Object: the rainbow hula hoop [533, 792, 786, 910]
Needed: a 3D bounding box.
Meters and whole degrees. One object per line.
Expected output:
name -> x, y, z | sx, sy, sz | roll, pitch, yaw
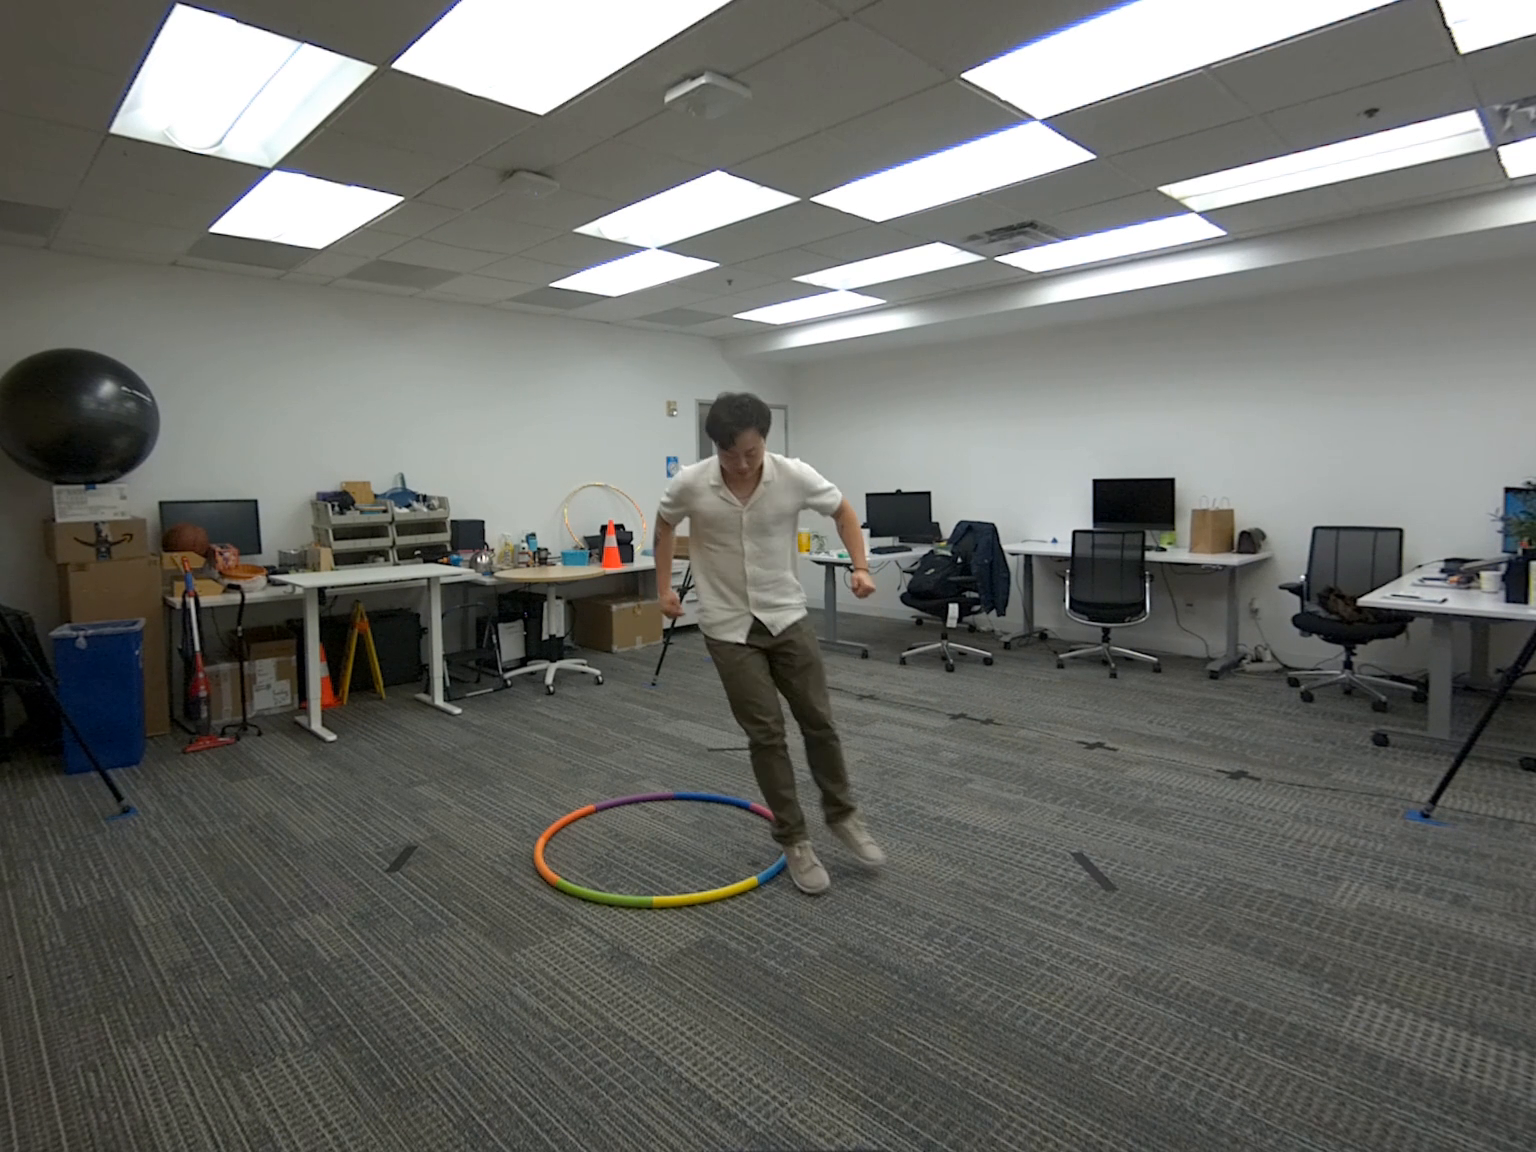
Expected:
rainbow hula hoop -> -0.385, 1.001, 3.271 | 0.978, 0.035, 0.984 | -1, 6, -2
